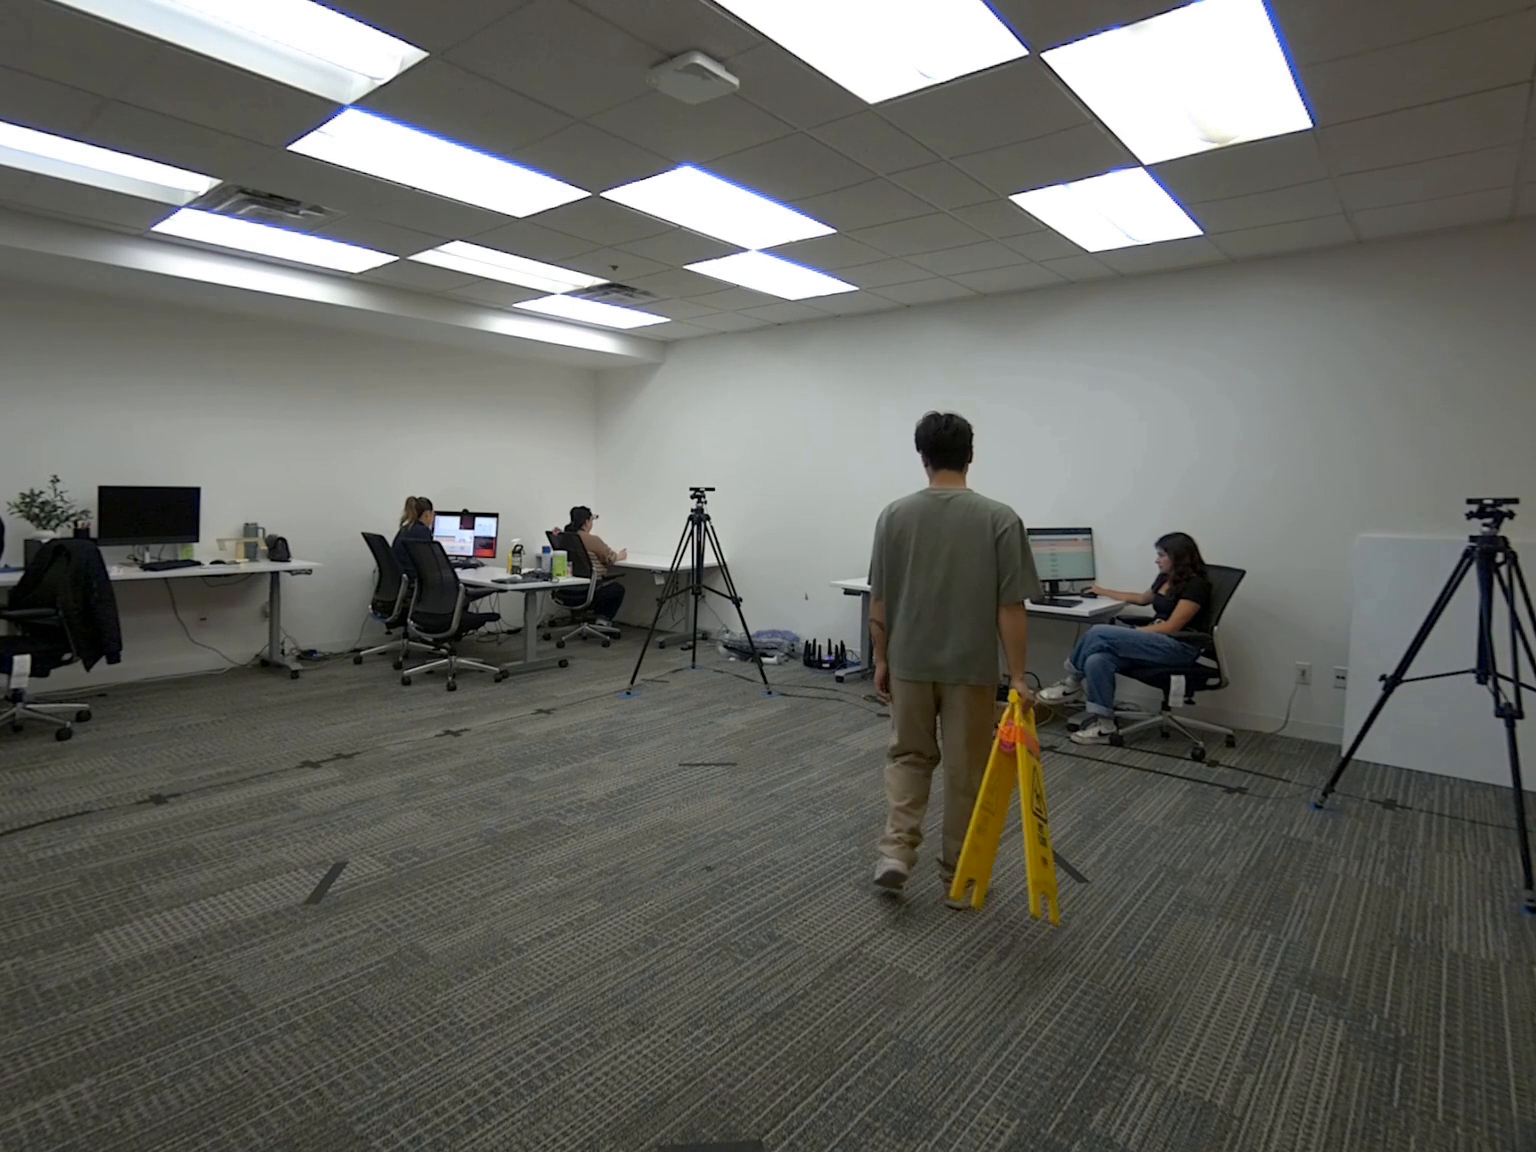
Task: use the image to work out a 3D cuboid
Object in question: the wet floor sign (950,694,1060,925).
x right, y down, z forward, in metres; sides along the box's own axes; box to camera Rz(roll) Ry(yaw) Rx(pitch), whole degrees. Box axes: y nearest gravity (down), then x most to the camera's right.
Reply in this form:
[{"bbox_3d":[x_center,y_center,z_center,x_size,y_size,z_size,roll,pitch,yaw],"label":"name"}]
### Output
[{"bbox_3d":[0.759,0.688,2.646,0.298,0.656,0.270,-4,-26,32],"label":"wet floor sign"}]
